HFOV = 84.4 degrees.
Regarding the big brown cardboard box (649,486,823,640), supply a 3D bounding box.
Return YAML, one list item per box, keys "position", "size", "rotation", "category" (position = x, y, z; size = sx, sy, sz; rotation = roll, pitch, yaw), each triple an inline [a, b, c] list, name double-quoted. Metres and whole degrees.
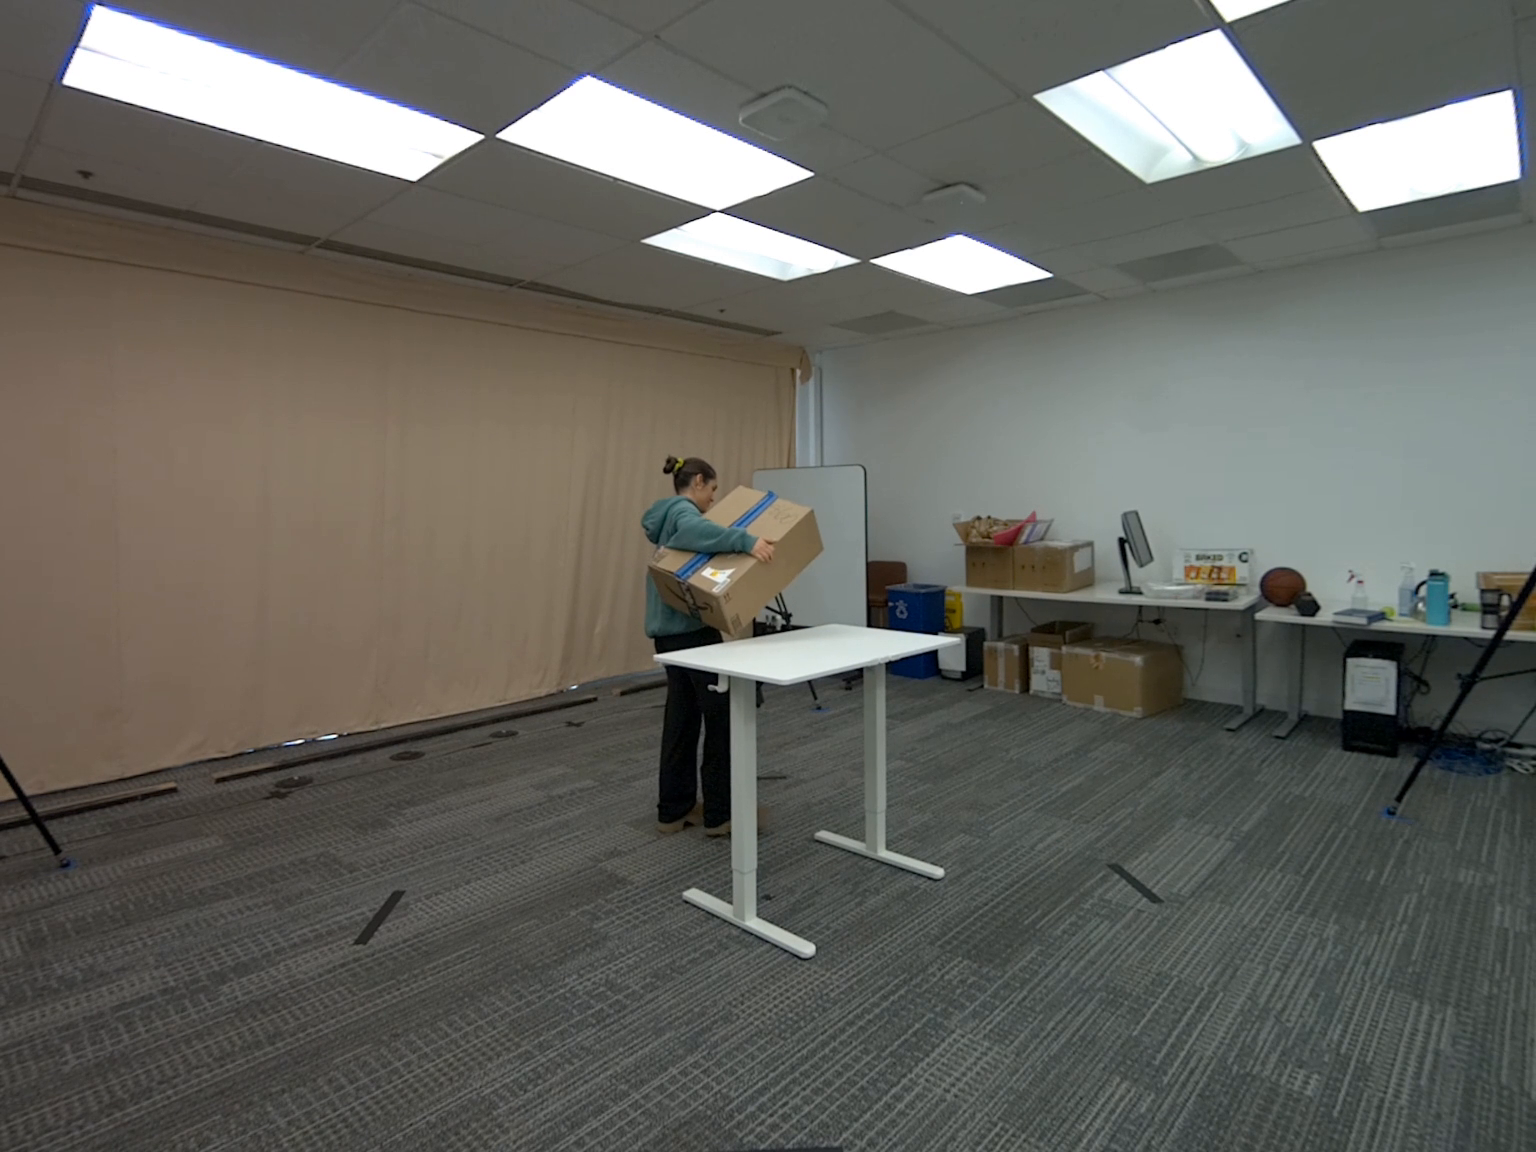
- position: [-0.124, -0.074, 3.376]
  size: [0.433, 0.227, 0.583]
  rotation: [20, 51, 39]
  category: "big brown cardboard box"
